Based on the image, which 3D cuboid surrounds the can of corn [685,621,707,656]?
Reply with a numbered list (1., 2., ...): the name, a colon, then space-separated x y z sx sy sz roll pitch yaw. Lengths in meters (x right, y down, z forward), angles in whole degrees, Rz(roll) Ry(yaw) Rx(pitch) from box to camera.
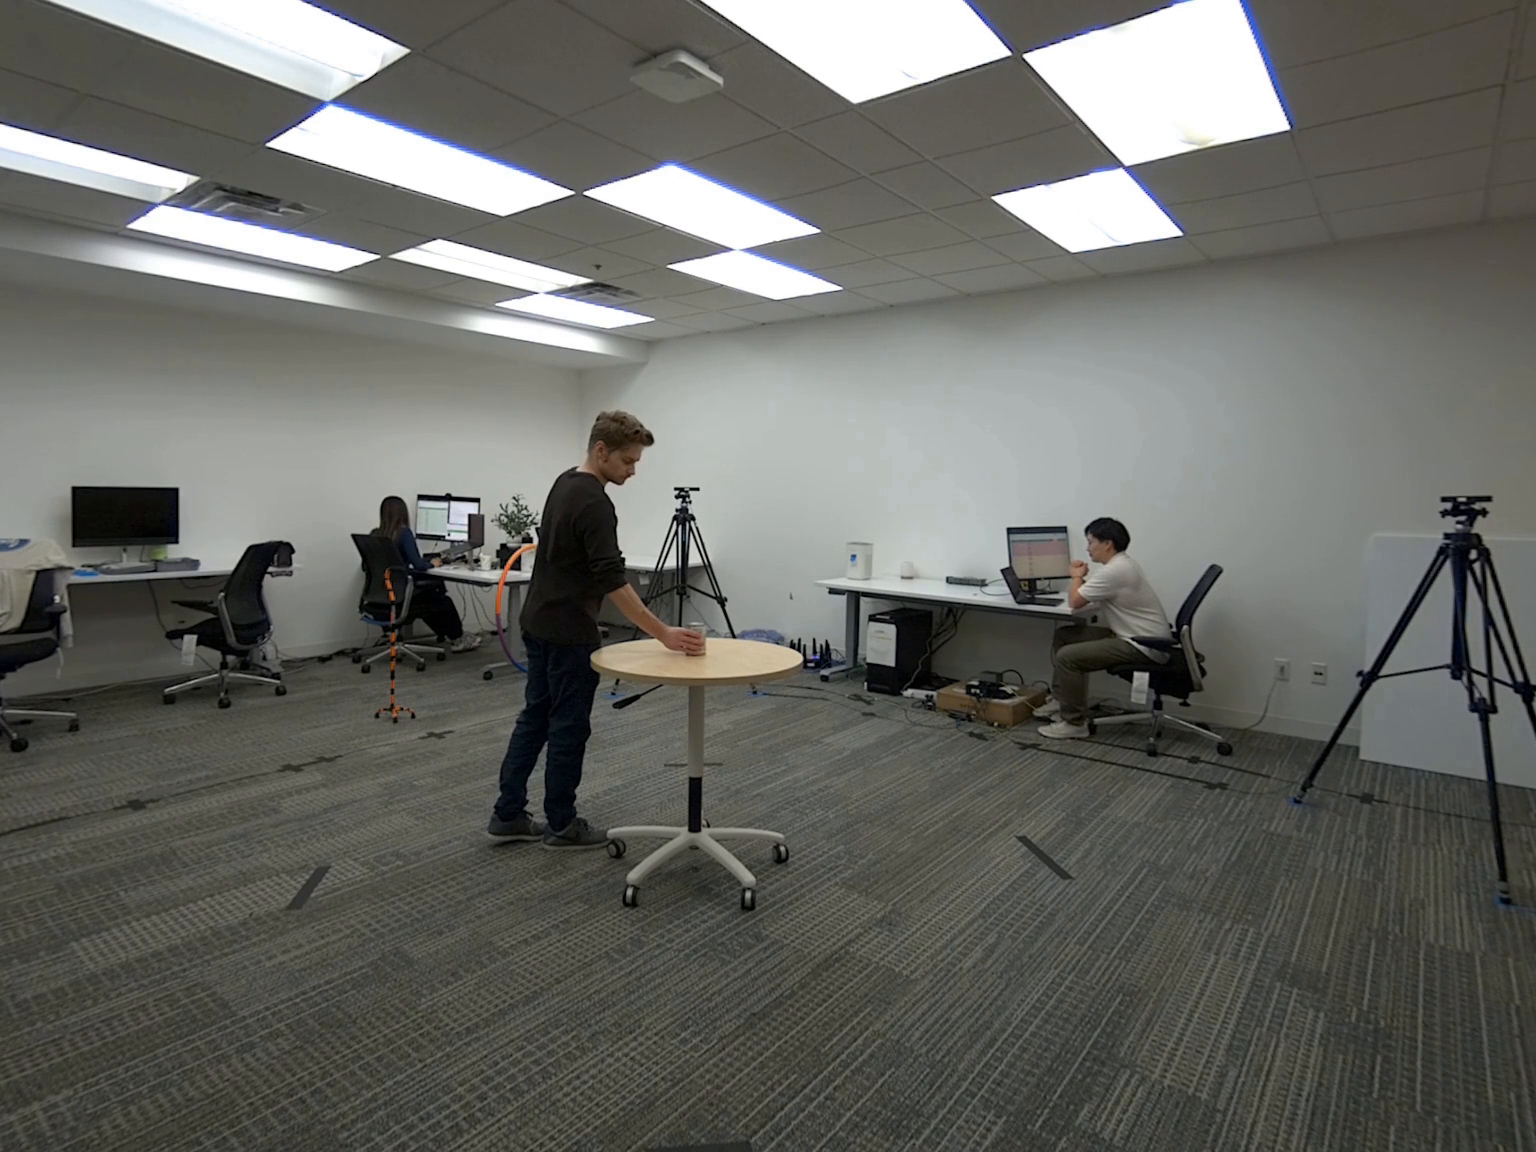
1. can of corn: -0.272 0.230 3.088 0.074 0.111 0.074 0 4 -2
